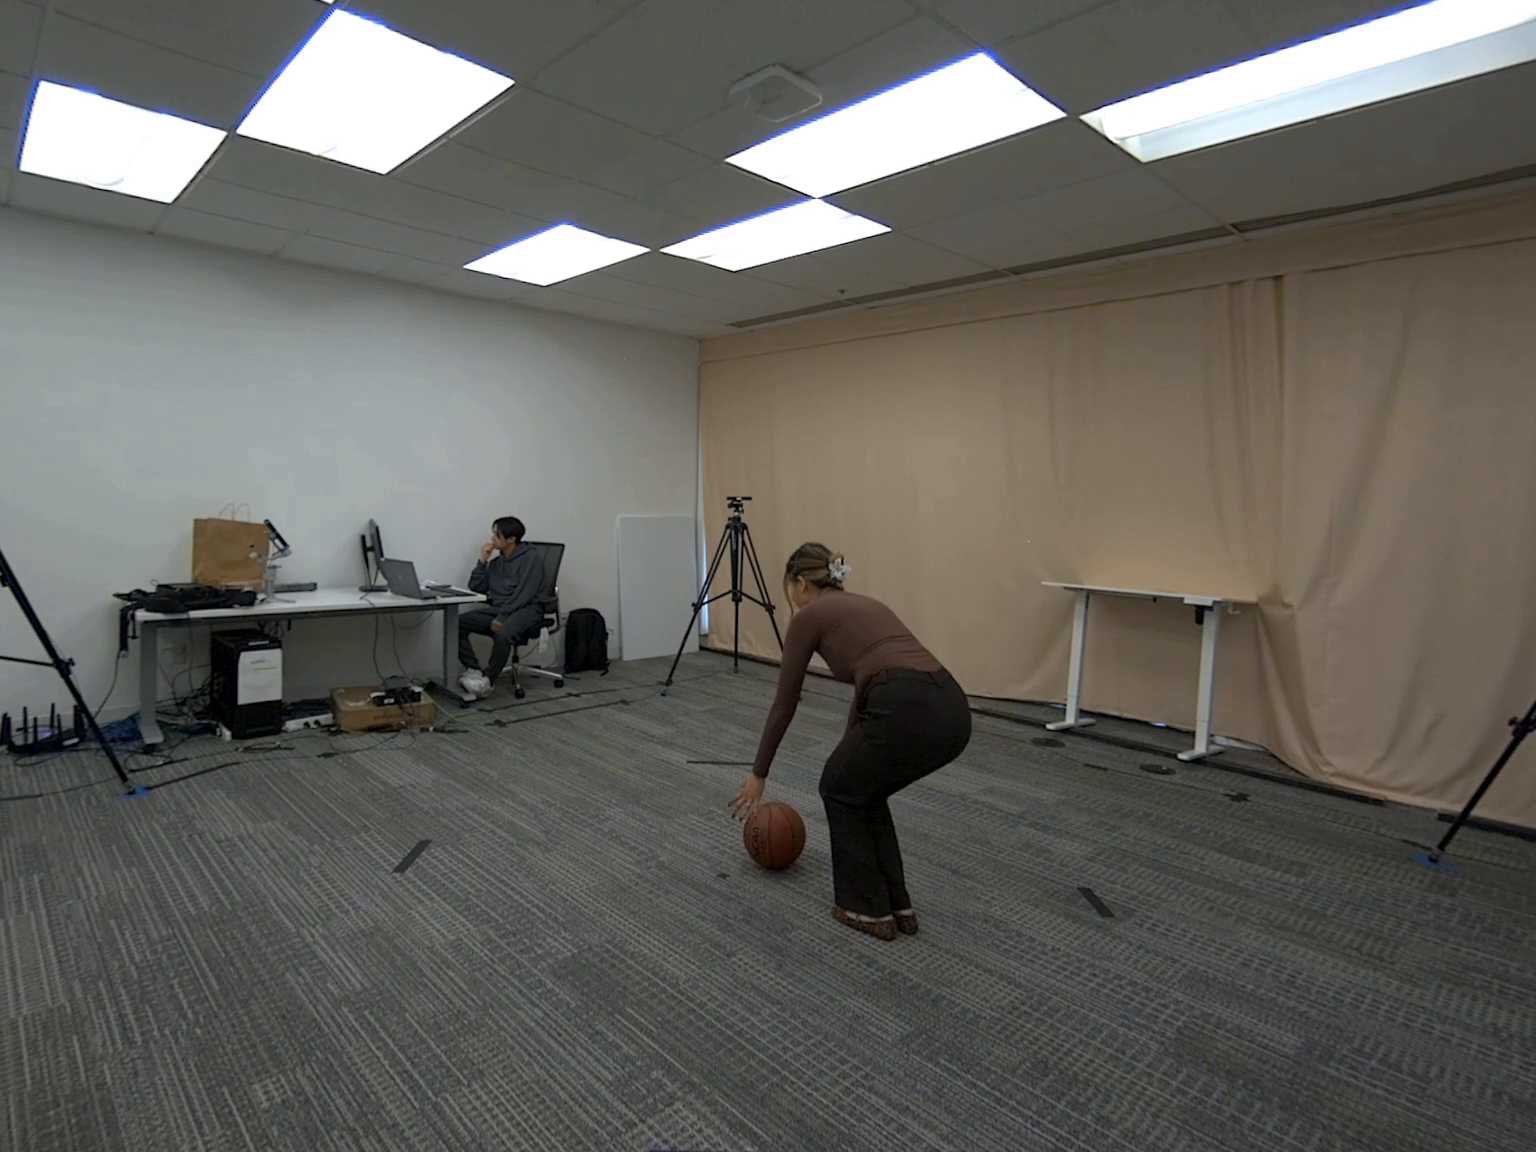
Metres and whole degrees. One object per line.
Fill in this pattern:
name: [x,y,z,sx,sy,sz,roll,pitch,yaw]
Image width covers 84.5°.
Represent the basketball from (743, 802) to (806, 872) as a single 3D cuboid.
basketball: [0.016,0.979,3.193,0.236,0.235,0.237,1,4,-1]
